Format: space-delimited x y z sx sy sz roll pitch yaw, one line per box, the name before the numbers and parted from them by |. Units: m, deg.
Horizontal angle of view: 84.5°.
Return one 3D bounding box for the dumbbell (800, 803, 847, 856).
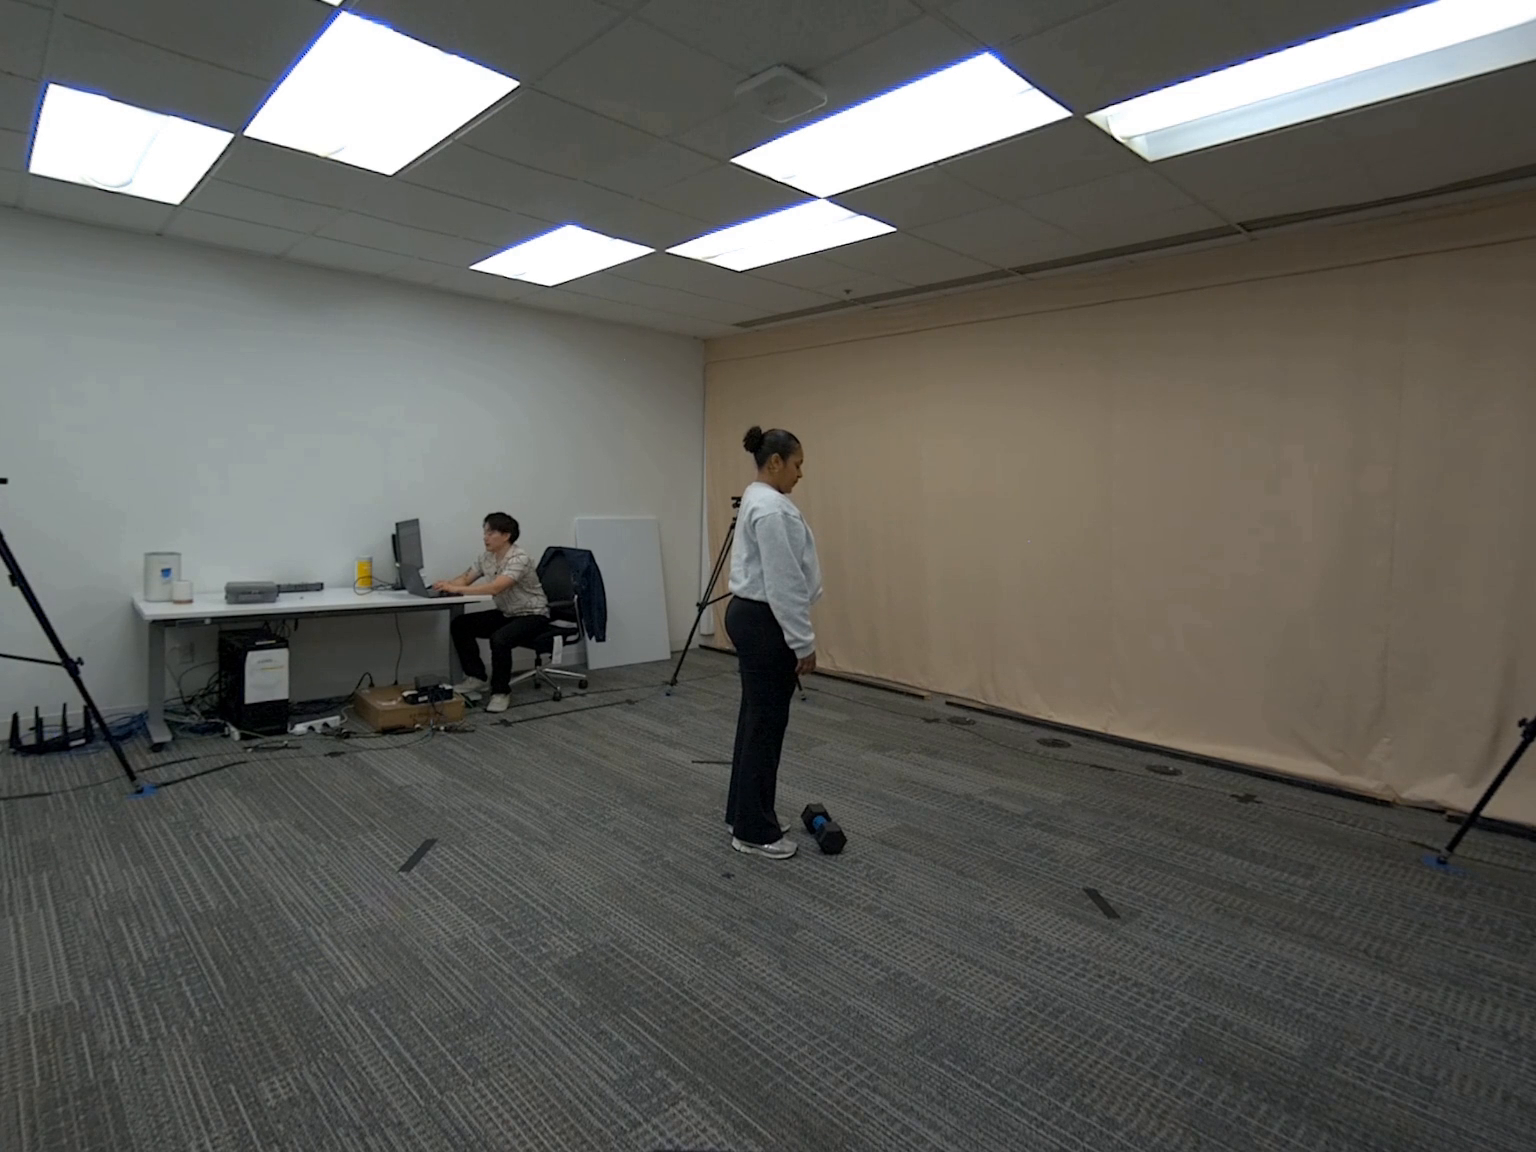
dumbbell | 0.214 1.028 3.445 0.122 0.108 0.297 2 5 -11
